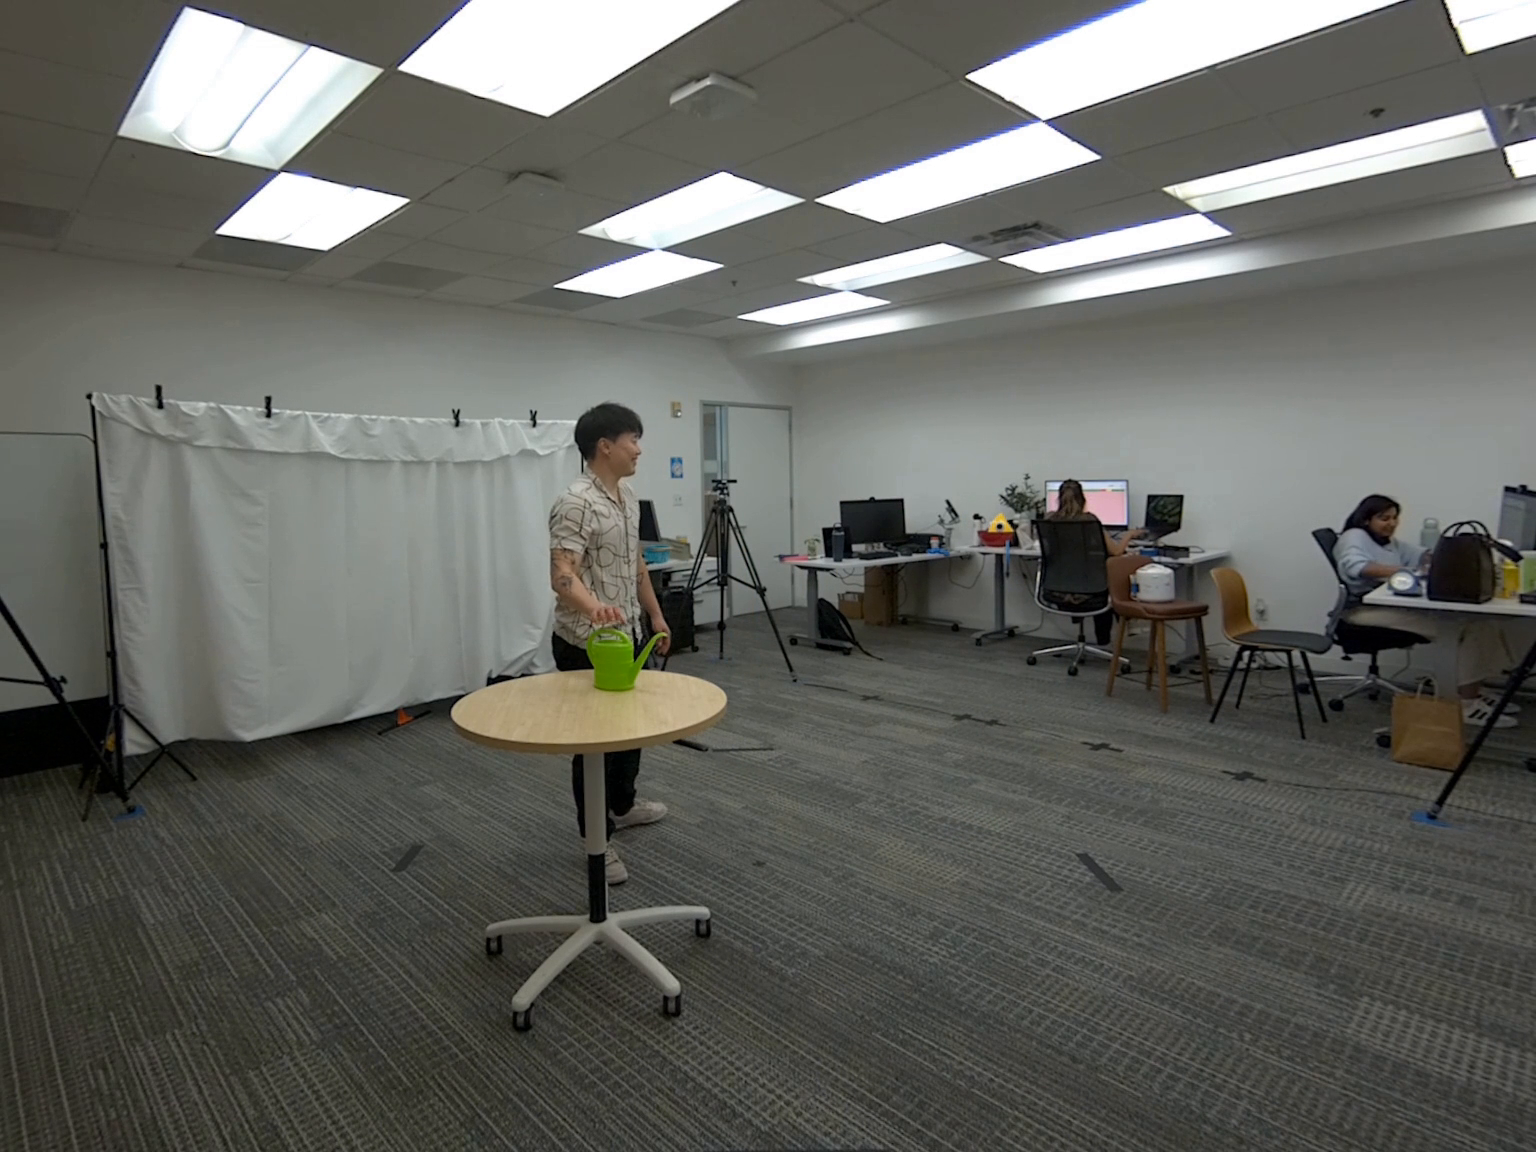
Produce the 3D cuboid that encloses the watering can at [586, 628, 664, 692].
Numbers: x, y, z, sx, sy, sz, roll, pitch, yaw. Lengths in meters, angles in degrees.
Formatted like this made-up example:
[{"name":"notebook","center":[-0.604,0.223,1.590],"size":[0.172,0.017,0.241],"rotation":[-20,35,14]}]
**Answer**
[{"name":"watering can","center":[-0.431,0.253,2.534],"size":[0.286,0.176,0.095],"rotation":[1,4,38]}]
